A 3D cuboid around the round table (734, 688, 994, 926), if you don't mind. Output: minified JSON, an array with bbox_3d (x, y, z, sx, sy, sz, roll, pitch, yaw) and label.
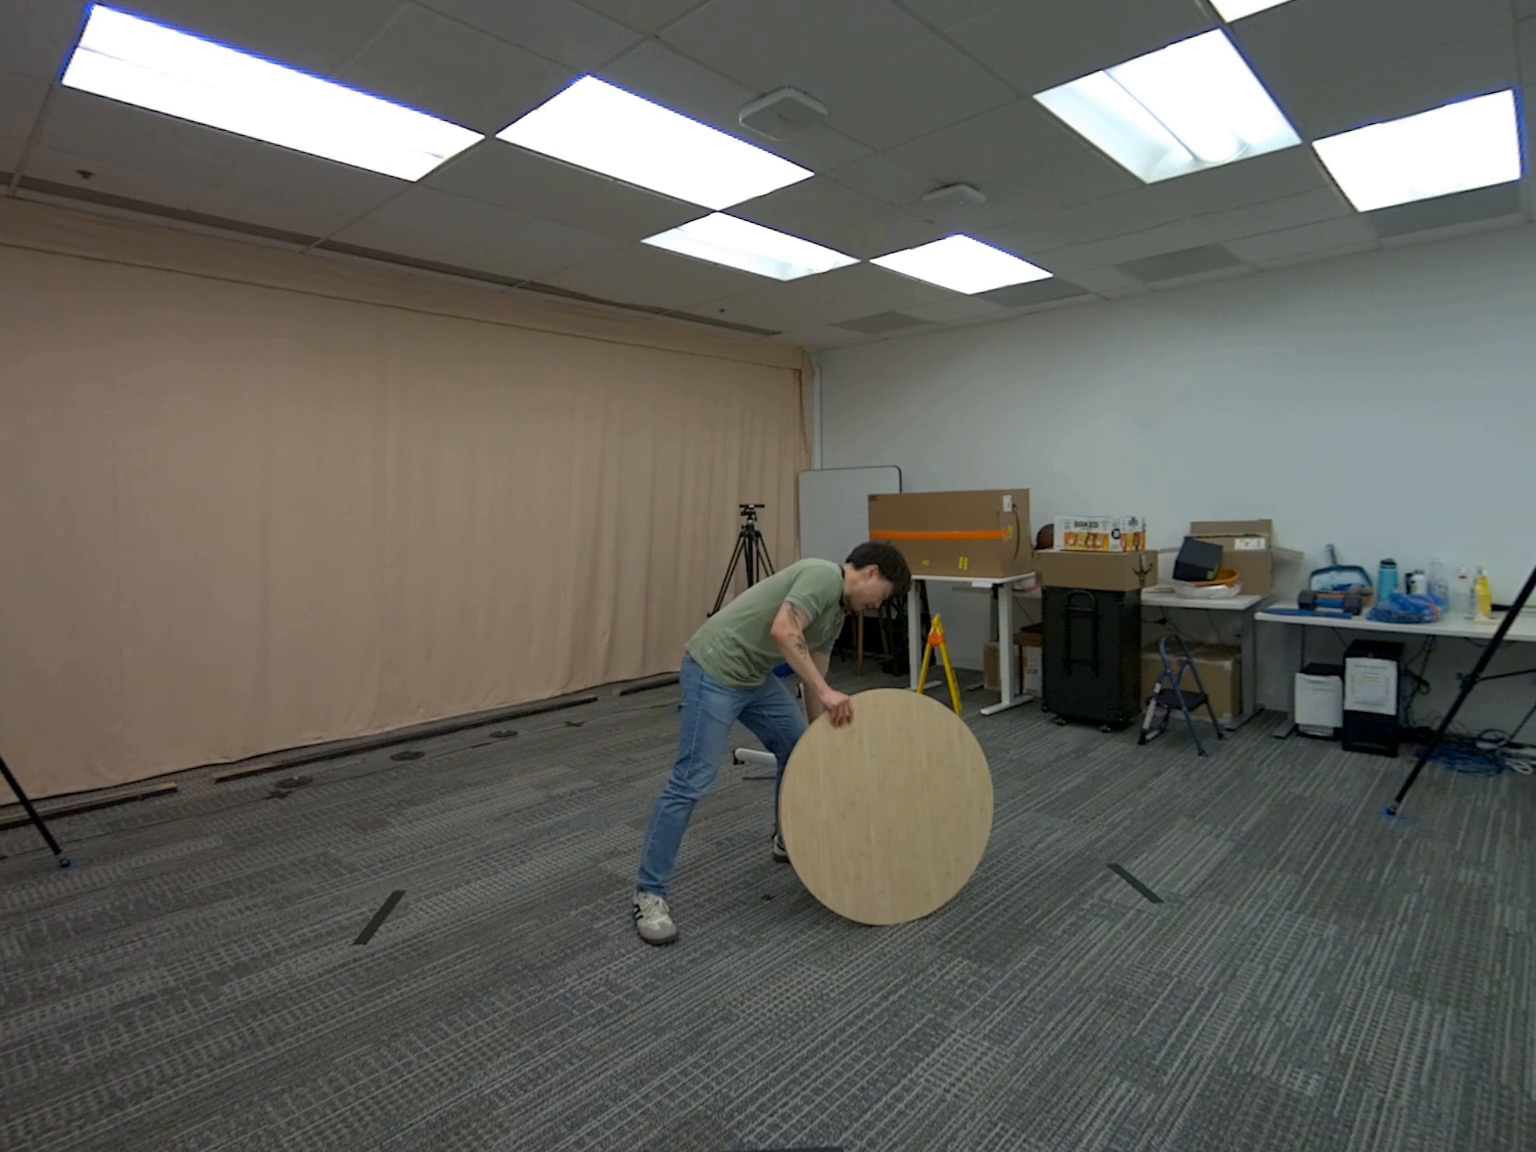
[{"bbox_3d":[0.295,0.779,3.183,0.752,0.766,0.805,-2,-3,-16],"label":"round table"}]
